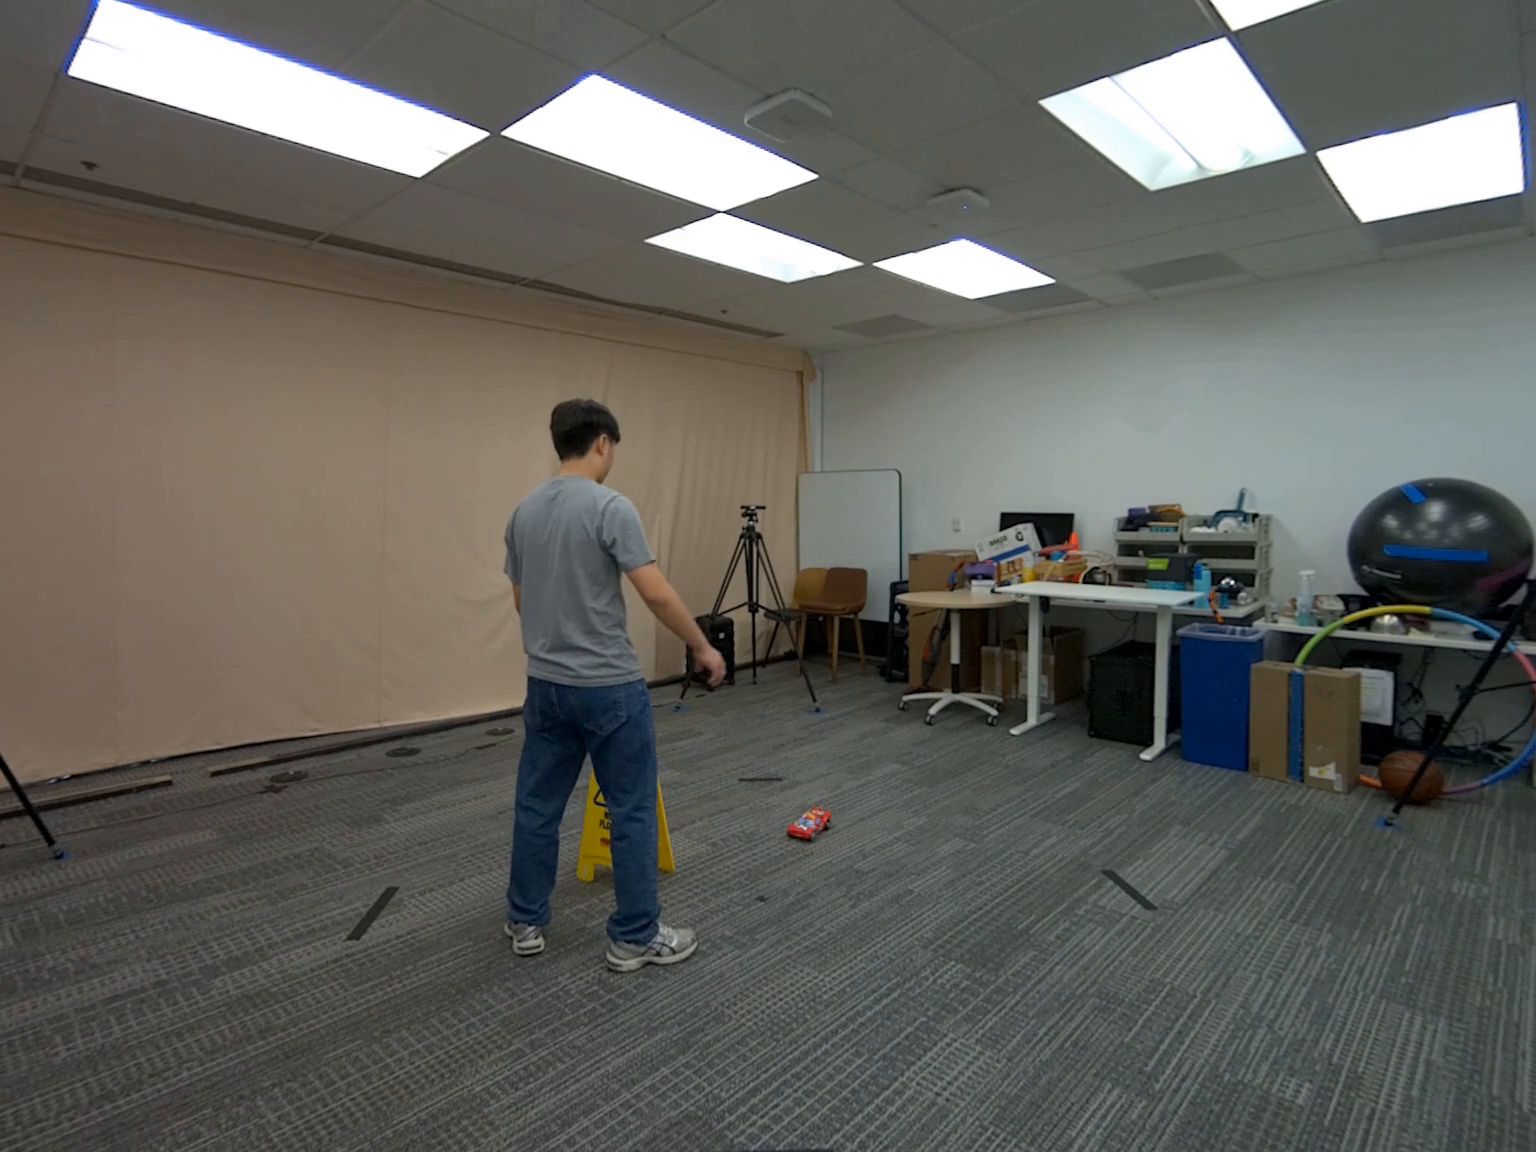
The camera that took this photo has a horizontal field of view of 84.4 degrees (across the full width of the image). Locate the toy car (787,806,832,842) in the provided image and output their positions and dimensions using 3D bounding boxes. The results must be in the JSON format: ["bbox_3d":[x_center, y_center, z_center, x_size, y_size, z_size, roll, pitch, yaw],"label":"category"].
[{"bbox_3d":[0.188,1.062,3.598,0.134,0.082,0.249,1,15,30],"label":"toy car"}]
